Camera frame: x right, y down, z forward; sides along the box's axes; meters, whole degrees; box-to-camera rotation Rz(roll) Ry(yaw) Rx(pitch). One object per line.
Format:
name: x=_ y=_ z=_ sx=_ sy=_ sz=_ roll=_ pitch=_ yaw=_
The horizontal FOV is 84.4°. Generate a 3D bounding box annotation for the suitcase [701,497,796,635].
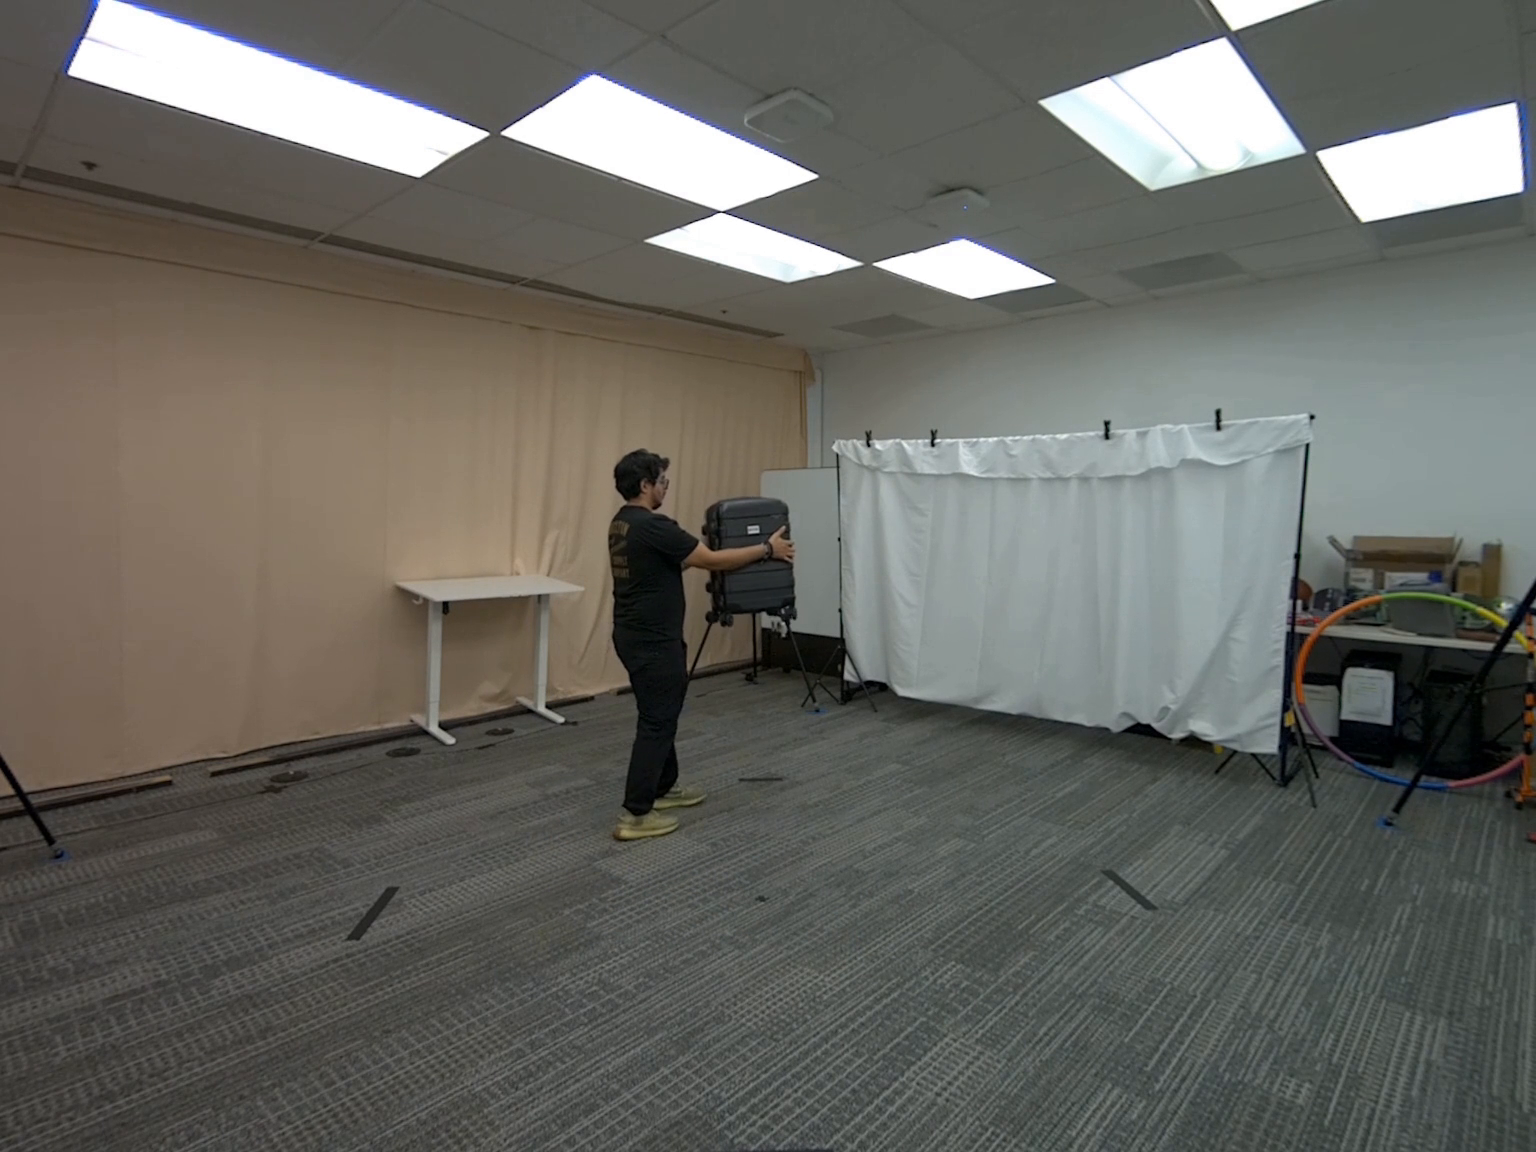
suitcase: x=-0.082 y=-0.080 z=3.771 sx=0.369 sy=0.548 sz=0.253 roll=-4 pitch=2 yaw=-16
